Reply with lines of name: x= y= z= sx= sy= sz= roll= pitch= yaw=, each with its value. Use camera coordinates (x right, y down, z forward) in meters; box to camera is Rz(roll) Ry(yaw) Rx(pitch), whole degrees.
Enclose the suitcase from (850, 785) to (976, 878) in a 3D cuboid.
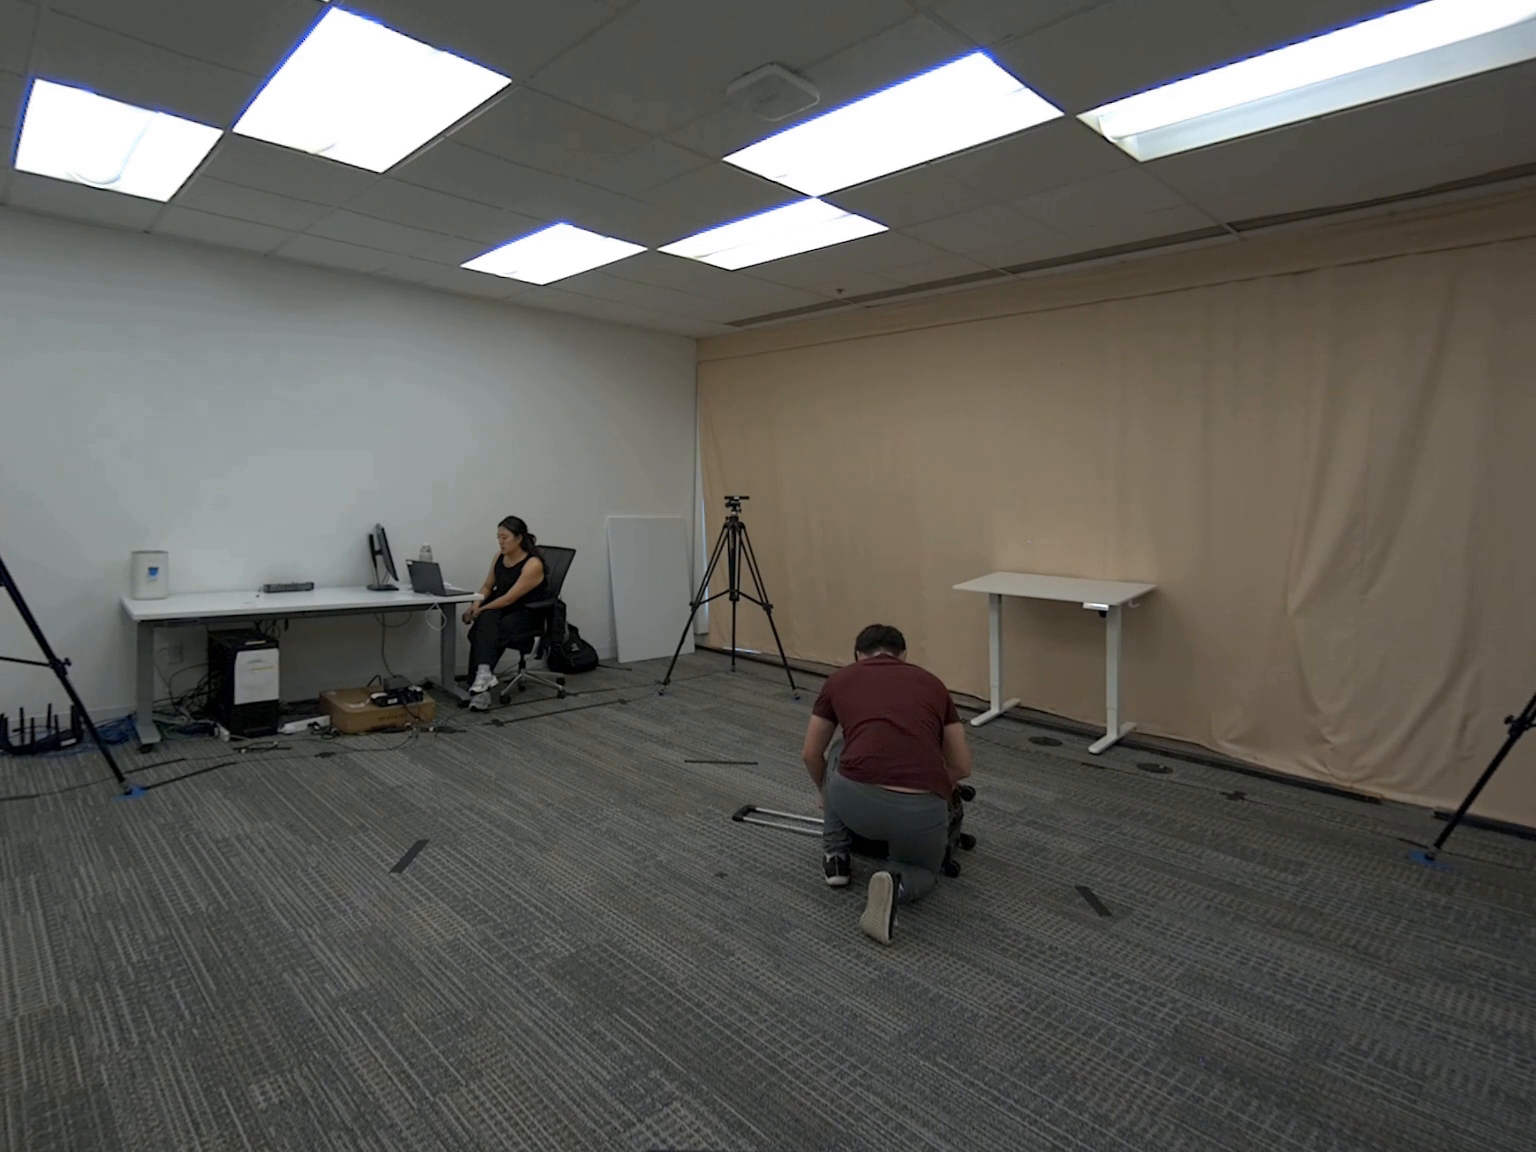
suitcase: x=0.332 y=0.959 z=3.483 sx=0.998 sy=0.256 sz=0.378 roll=4 pitch=8 yaw=26
